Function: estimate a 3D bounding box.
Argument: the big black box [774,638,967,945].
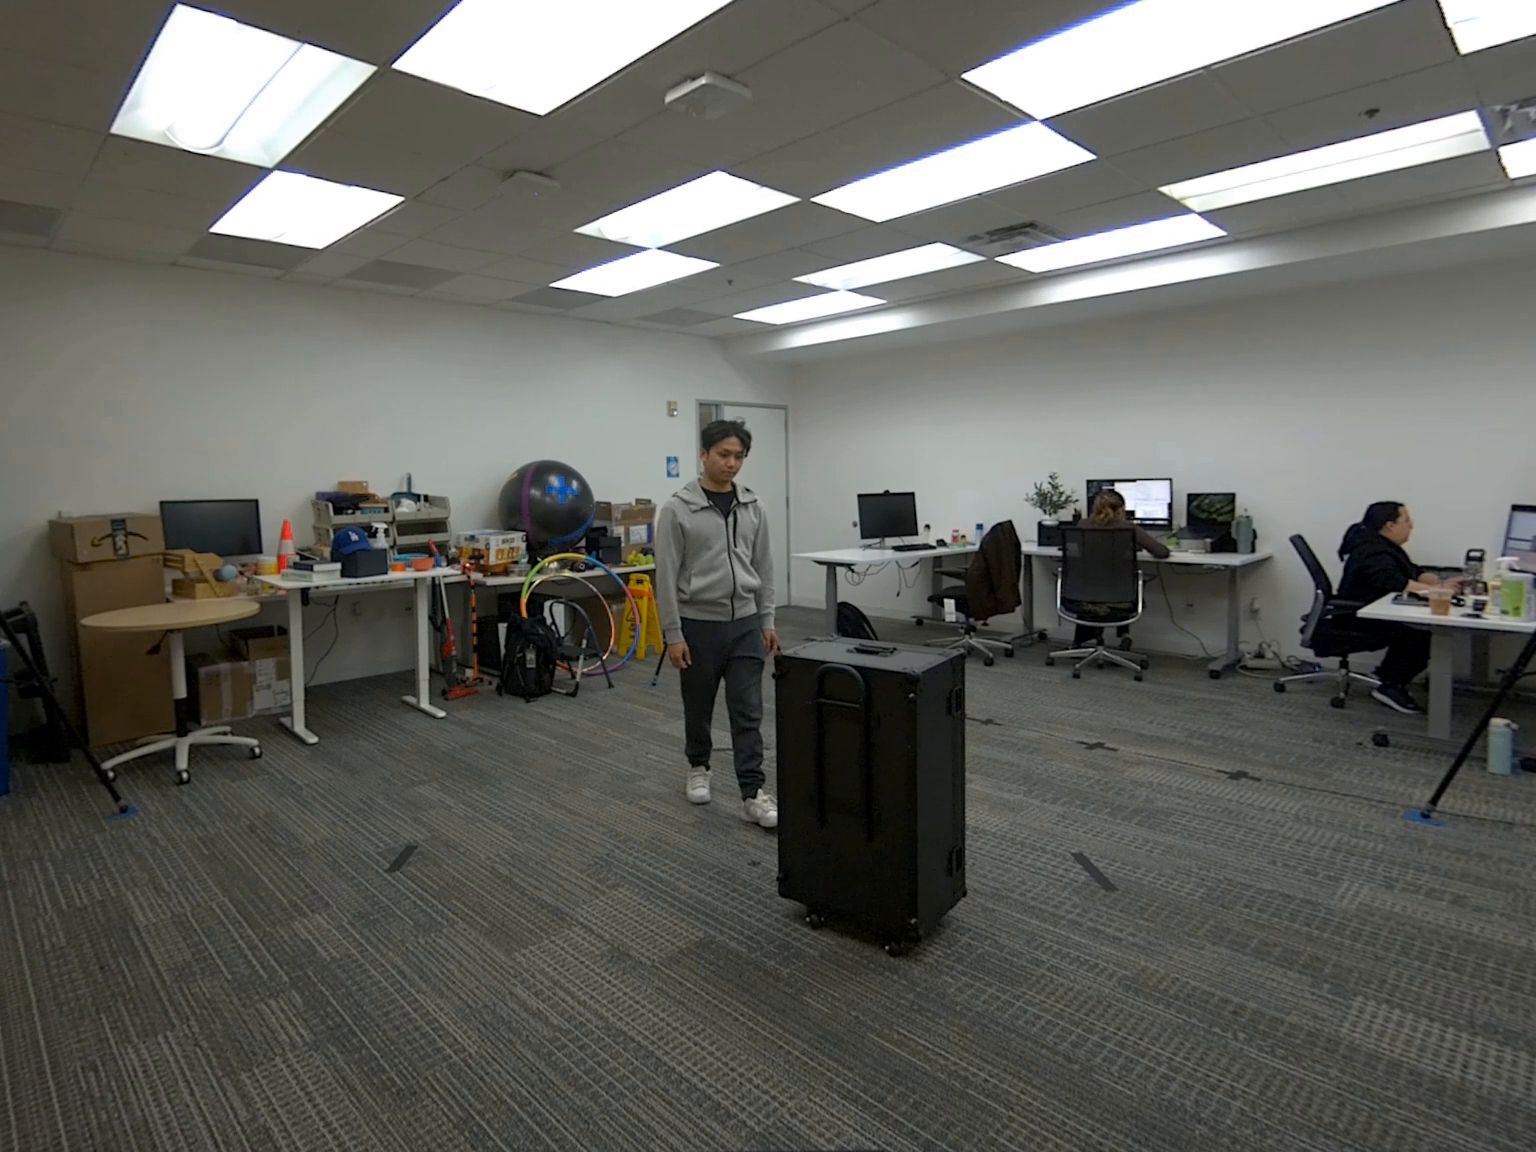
[{"bbox_3d":[0.328,0.665,2.671,0.536,0.858,0.386,2,6,36],"label":"big black box"}]
